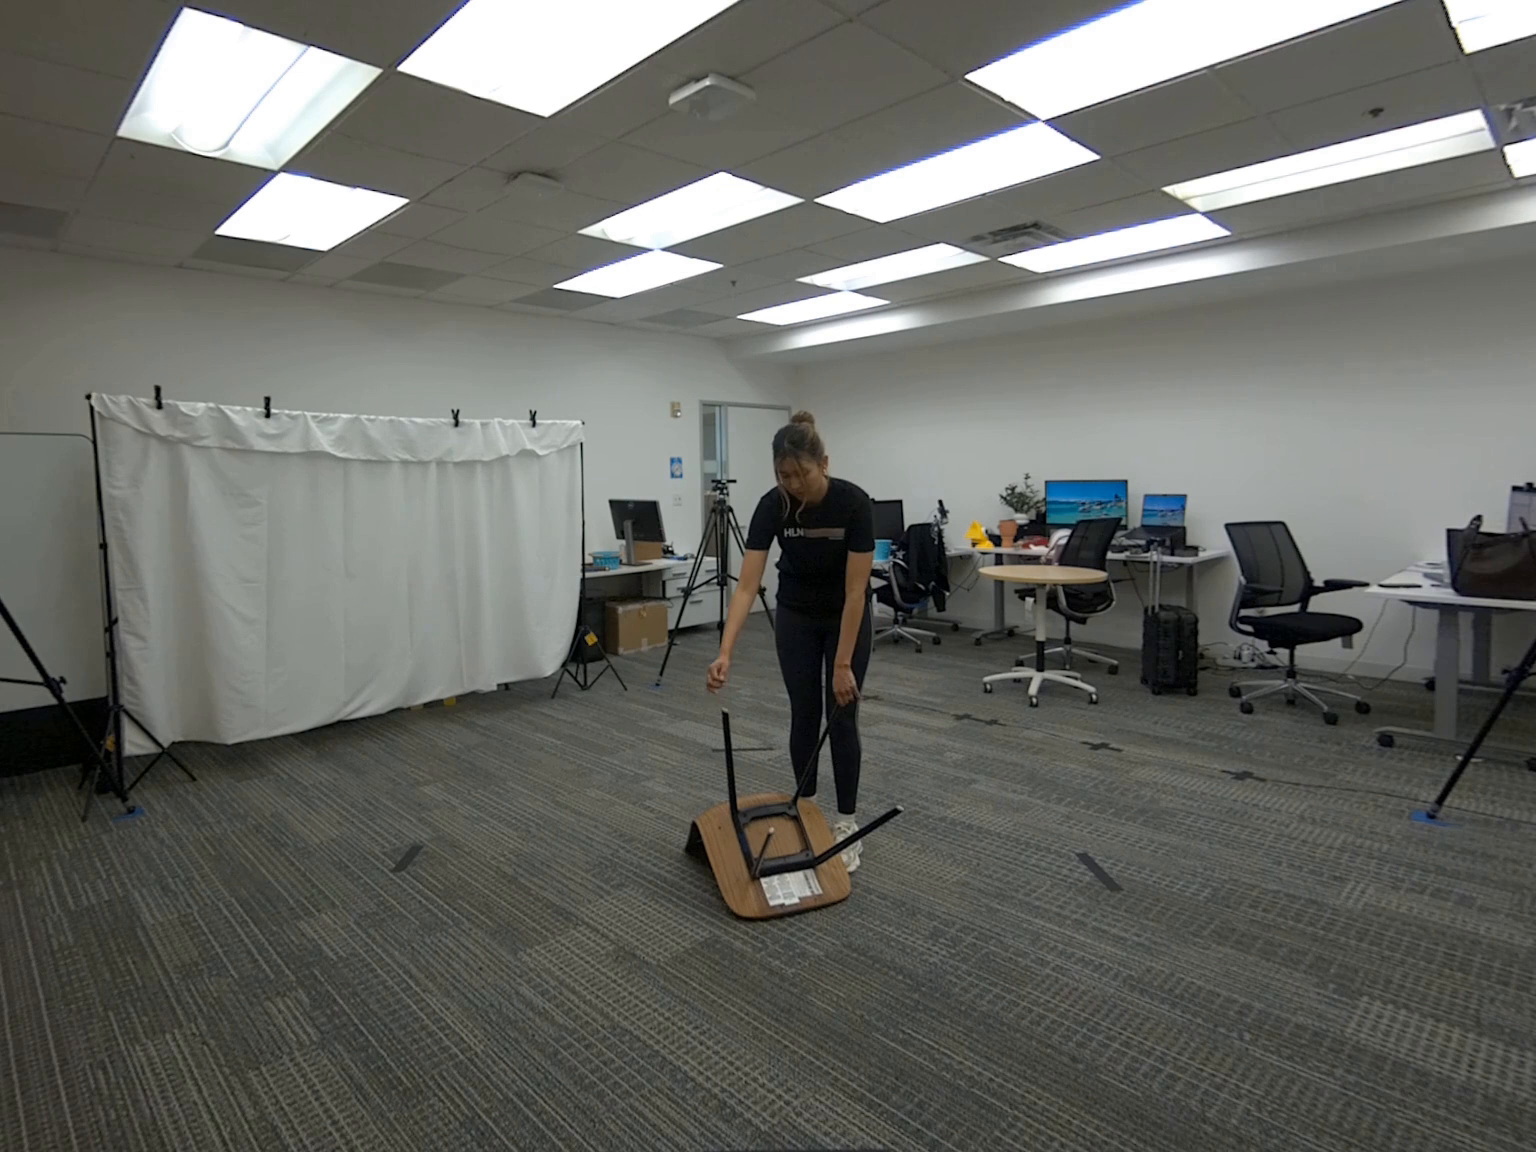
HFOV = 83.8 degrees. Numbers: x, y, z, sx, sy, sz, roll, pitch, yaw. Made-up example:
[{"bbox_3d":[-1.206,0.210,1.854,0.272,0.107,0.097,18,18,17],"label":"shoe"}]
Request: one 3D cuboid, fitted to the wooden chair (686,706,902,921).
[{"bbox_3d":[0.022,0.897,2.913,0.468,0.864,0.542,-2,46,-24],"label":"wooden chair"}]
